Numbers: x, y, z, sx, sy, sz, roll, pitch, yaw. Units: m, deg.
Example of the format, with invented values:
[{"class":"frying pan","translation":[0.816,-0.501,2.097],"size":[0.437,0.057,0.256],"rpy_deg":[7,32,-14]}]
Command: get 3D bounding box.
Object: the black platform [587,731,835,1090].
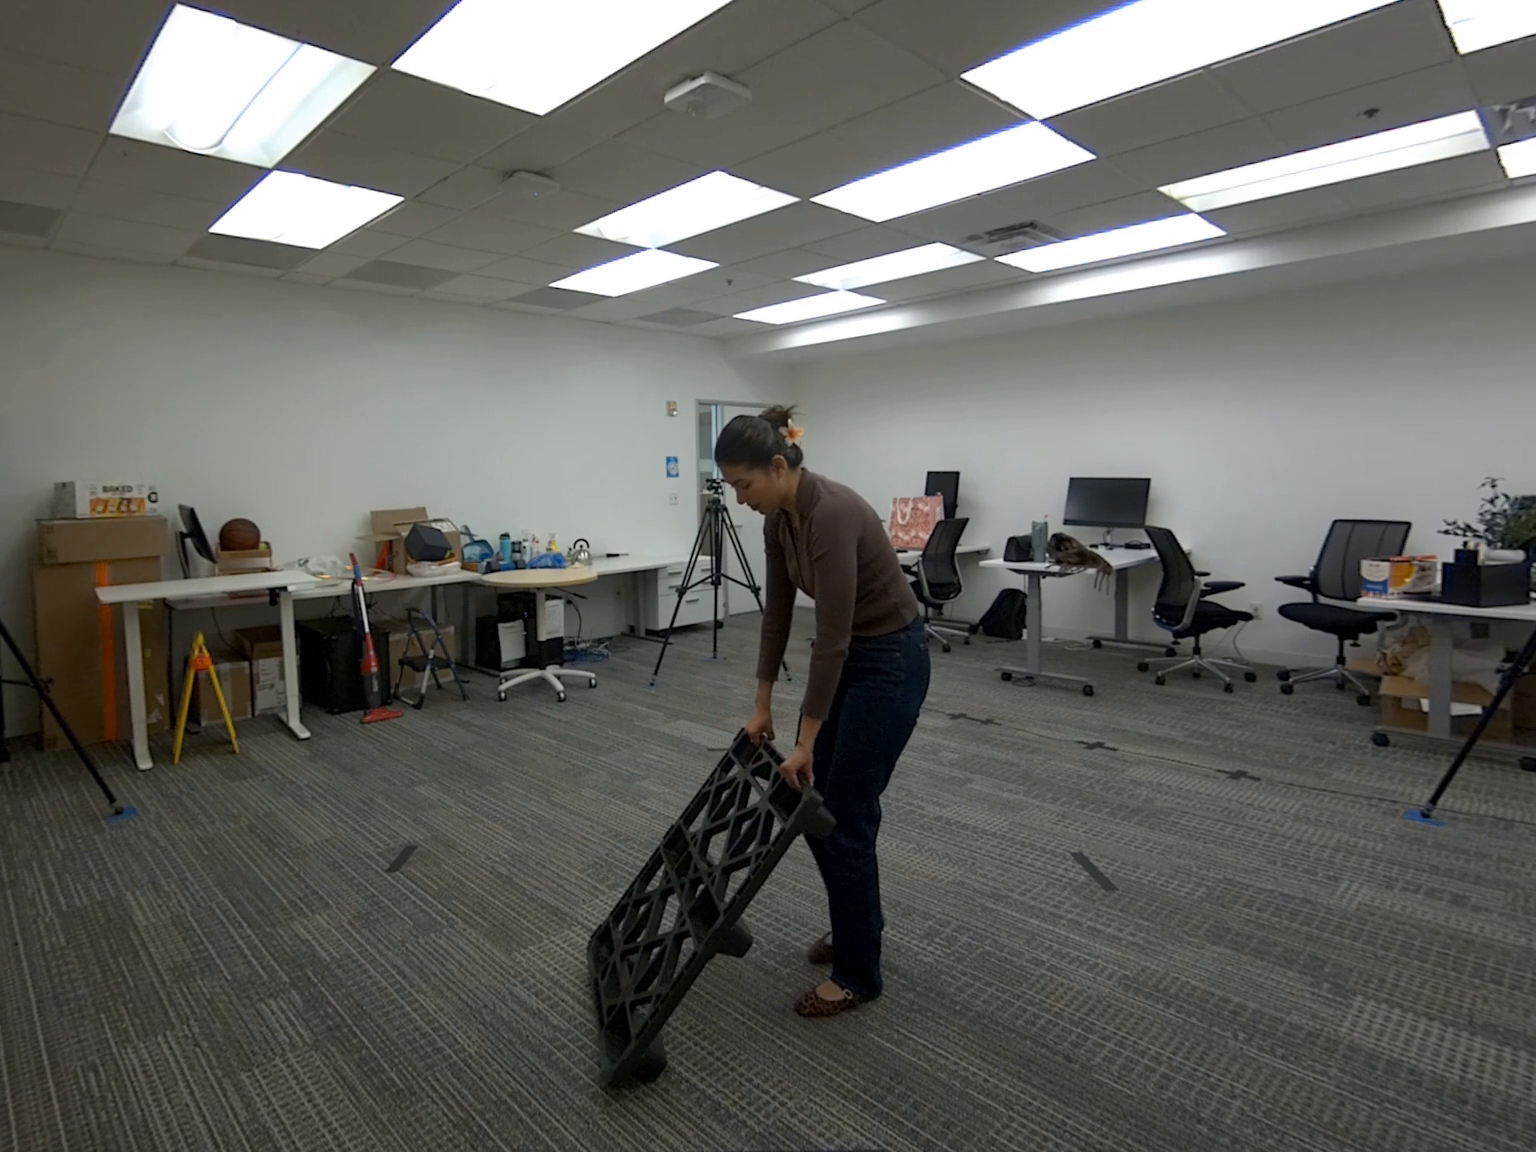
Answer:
[{"class":"black platform","translation":[-0.157,0.824,2.228],"size":[0.140,0.806,0.616],"rpy_deg":[38,-4,-17]}]
